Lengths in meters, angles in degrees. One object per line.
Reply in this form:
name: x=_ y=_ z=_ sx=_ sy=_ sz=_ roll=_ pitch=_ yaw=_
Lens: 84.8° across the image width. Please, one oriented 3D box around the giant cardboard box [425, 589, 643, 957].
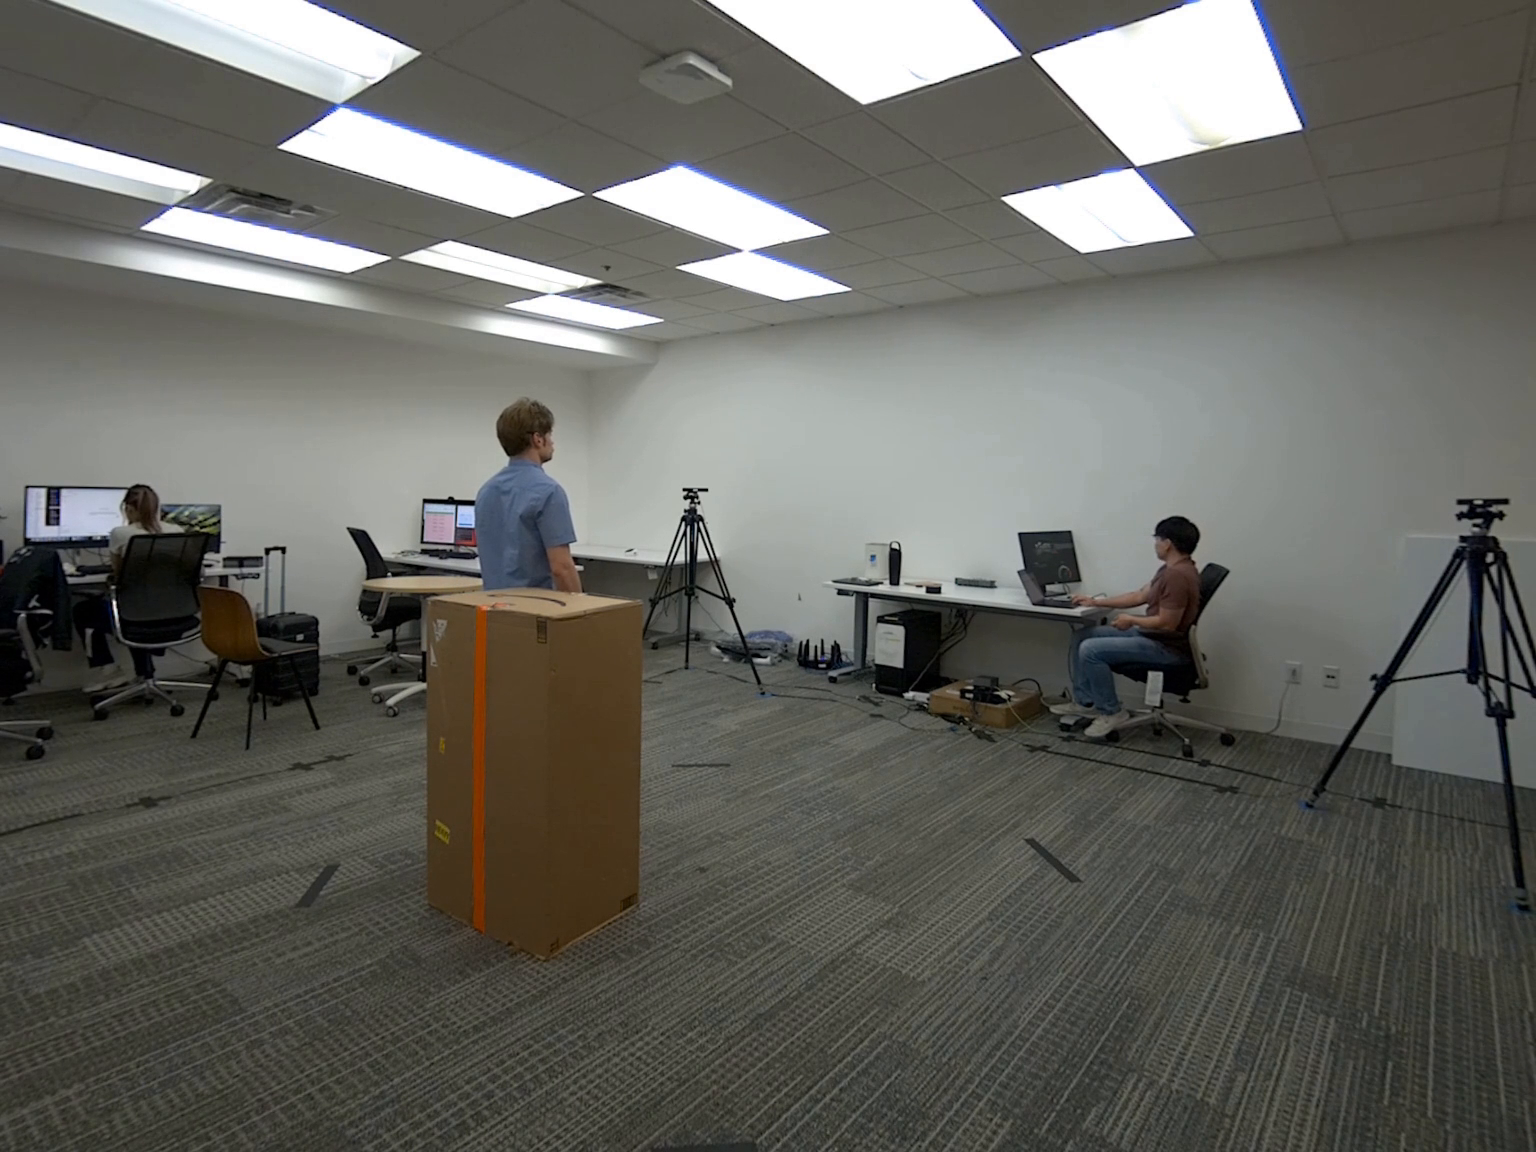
giant cardboard box: x=-0.775 y=0.585 z=2.783 sx=0.596 sy=1.022 sz=0.414 roll=4 pitch=4 yaw=35
